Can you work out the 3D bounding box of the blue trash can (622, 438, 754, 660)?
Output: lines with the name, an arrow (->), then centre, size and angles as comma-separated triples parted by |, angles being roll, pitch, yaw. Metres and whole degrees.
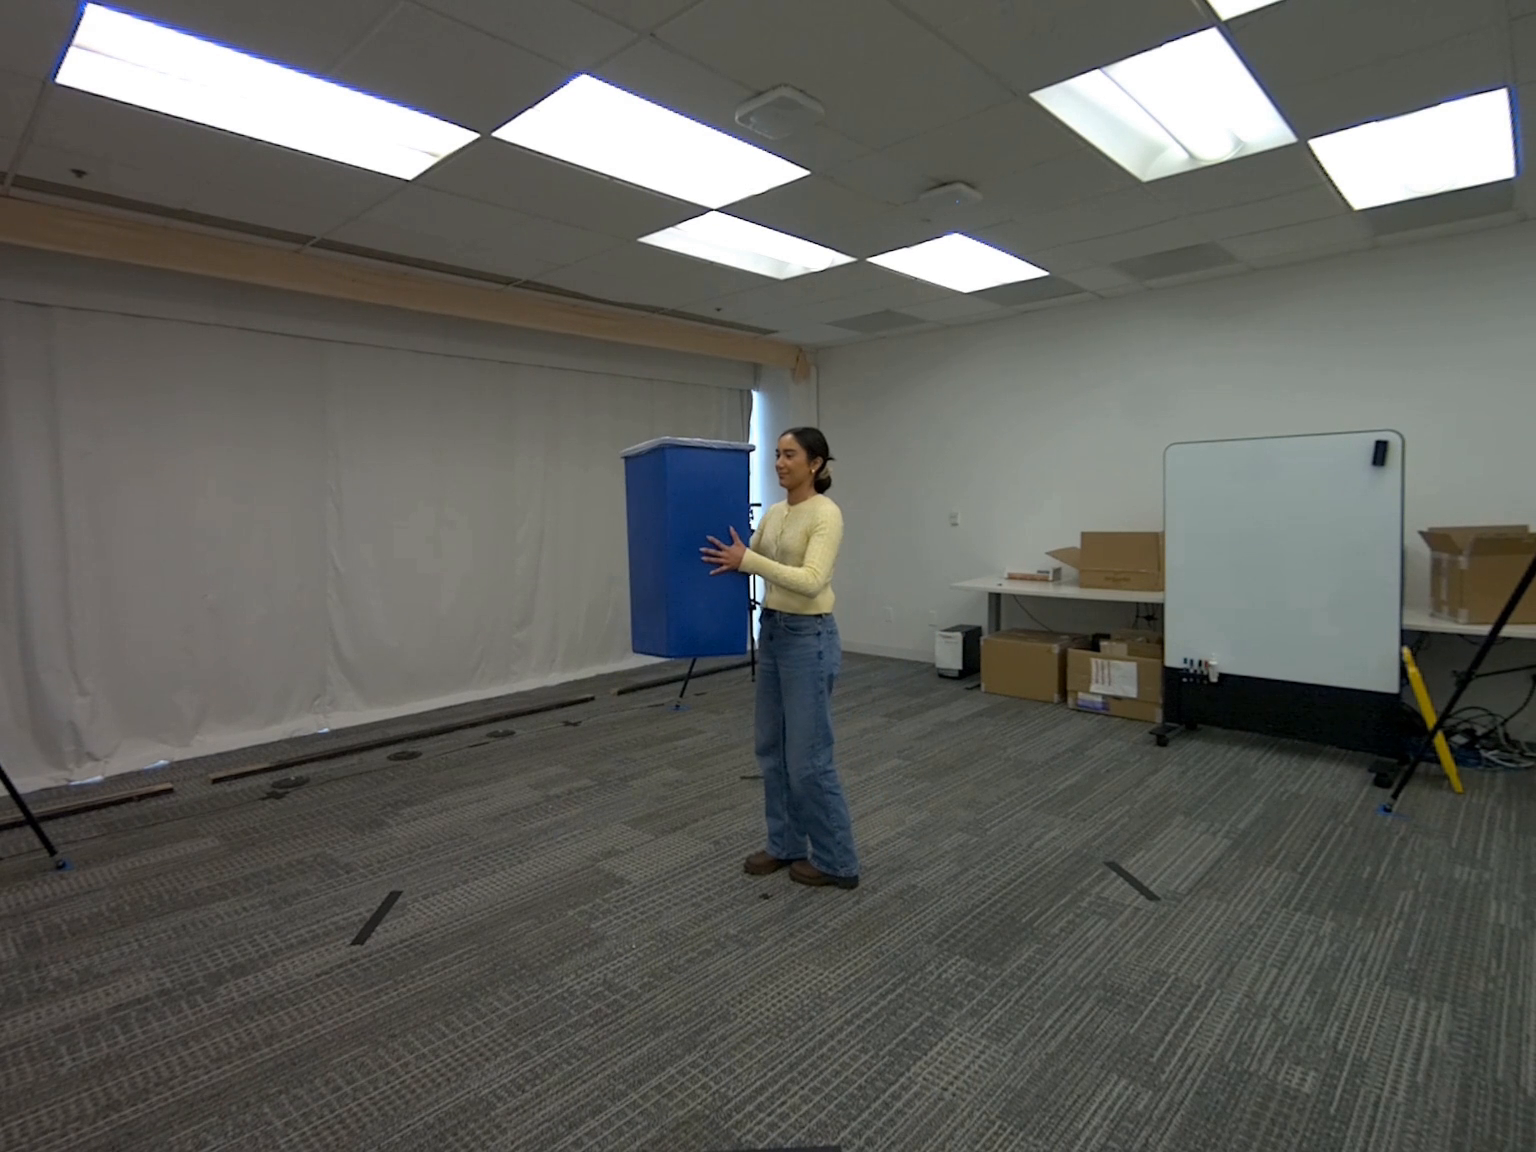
blue trash can -> -0.277, -0.090, 2.907 | 0.363, 0.715, 0.388 | 1, -3, -32
